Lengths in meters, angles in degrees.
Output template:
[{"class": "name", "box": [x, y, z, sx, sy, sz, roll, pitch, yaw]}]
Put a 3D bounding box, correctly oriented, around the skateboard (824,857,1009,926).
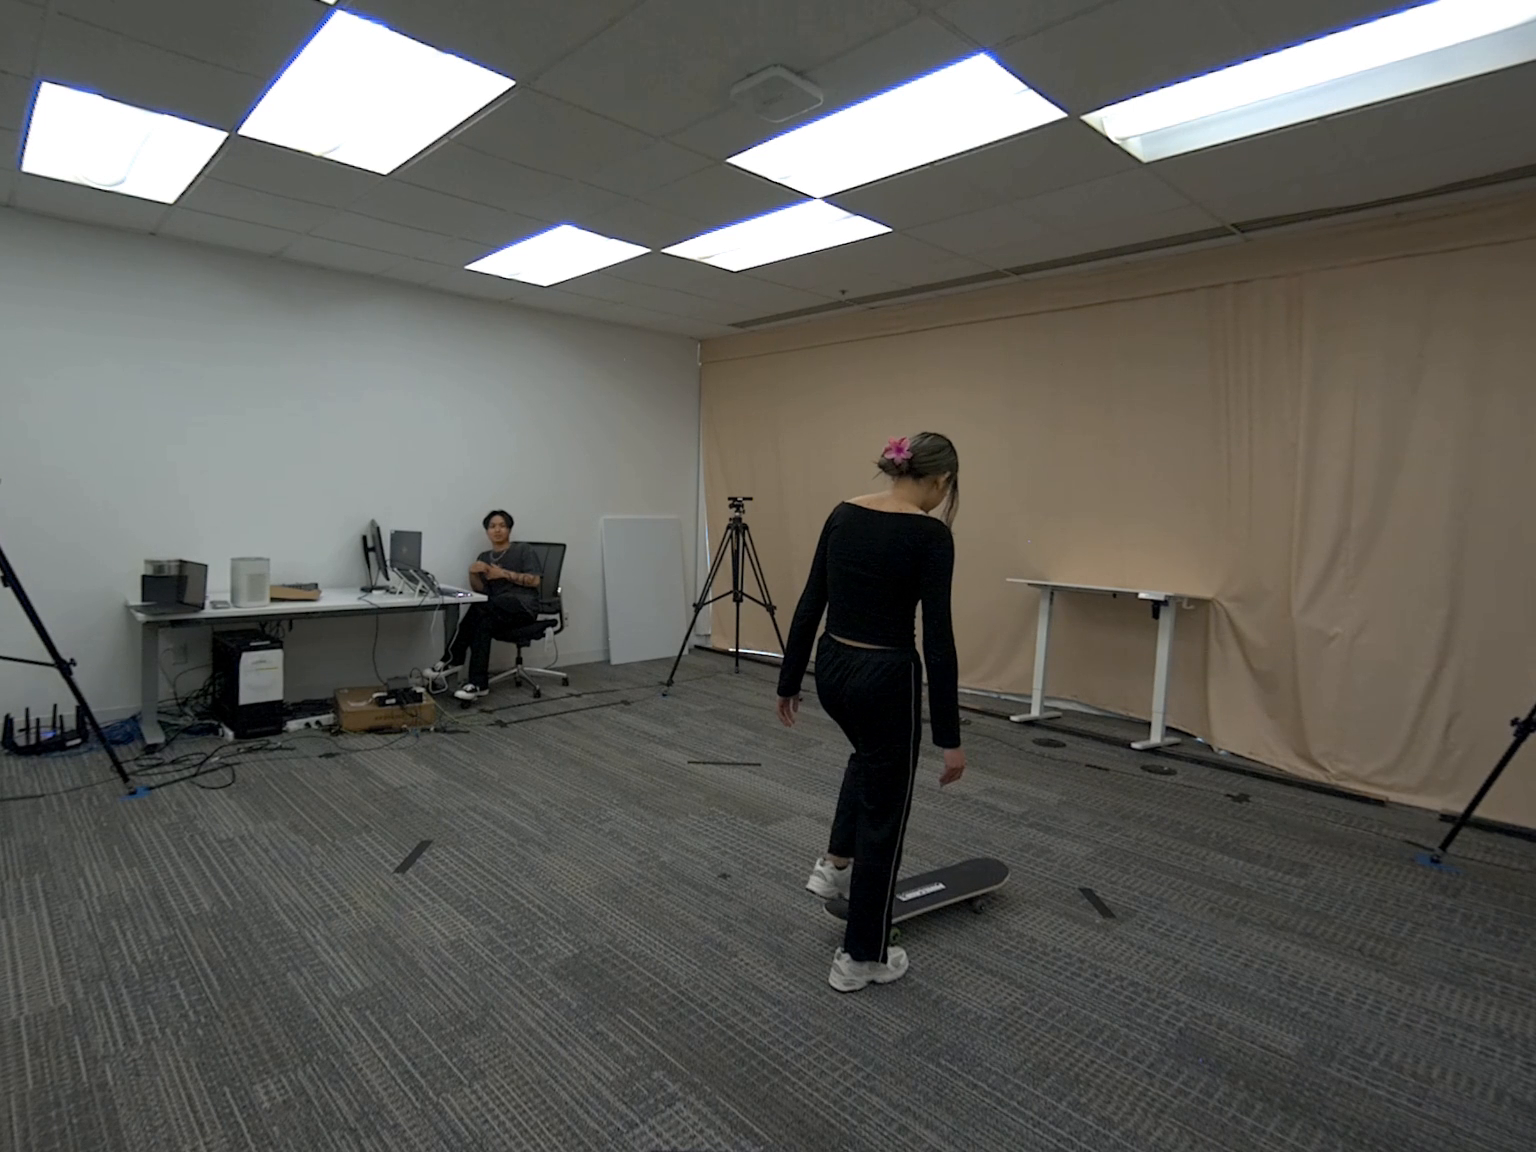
[{"class": "skateboard", "box": [0.505, 1.088, 2.829, 0.769, 0.110, 0.198, -2, 7, -33]}]
